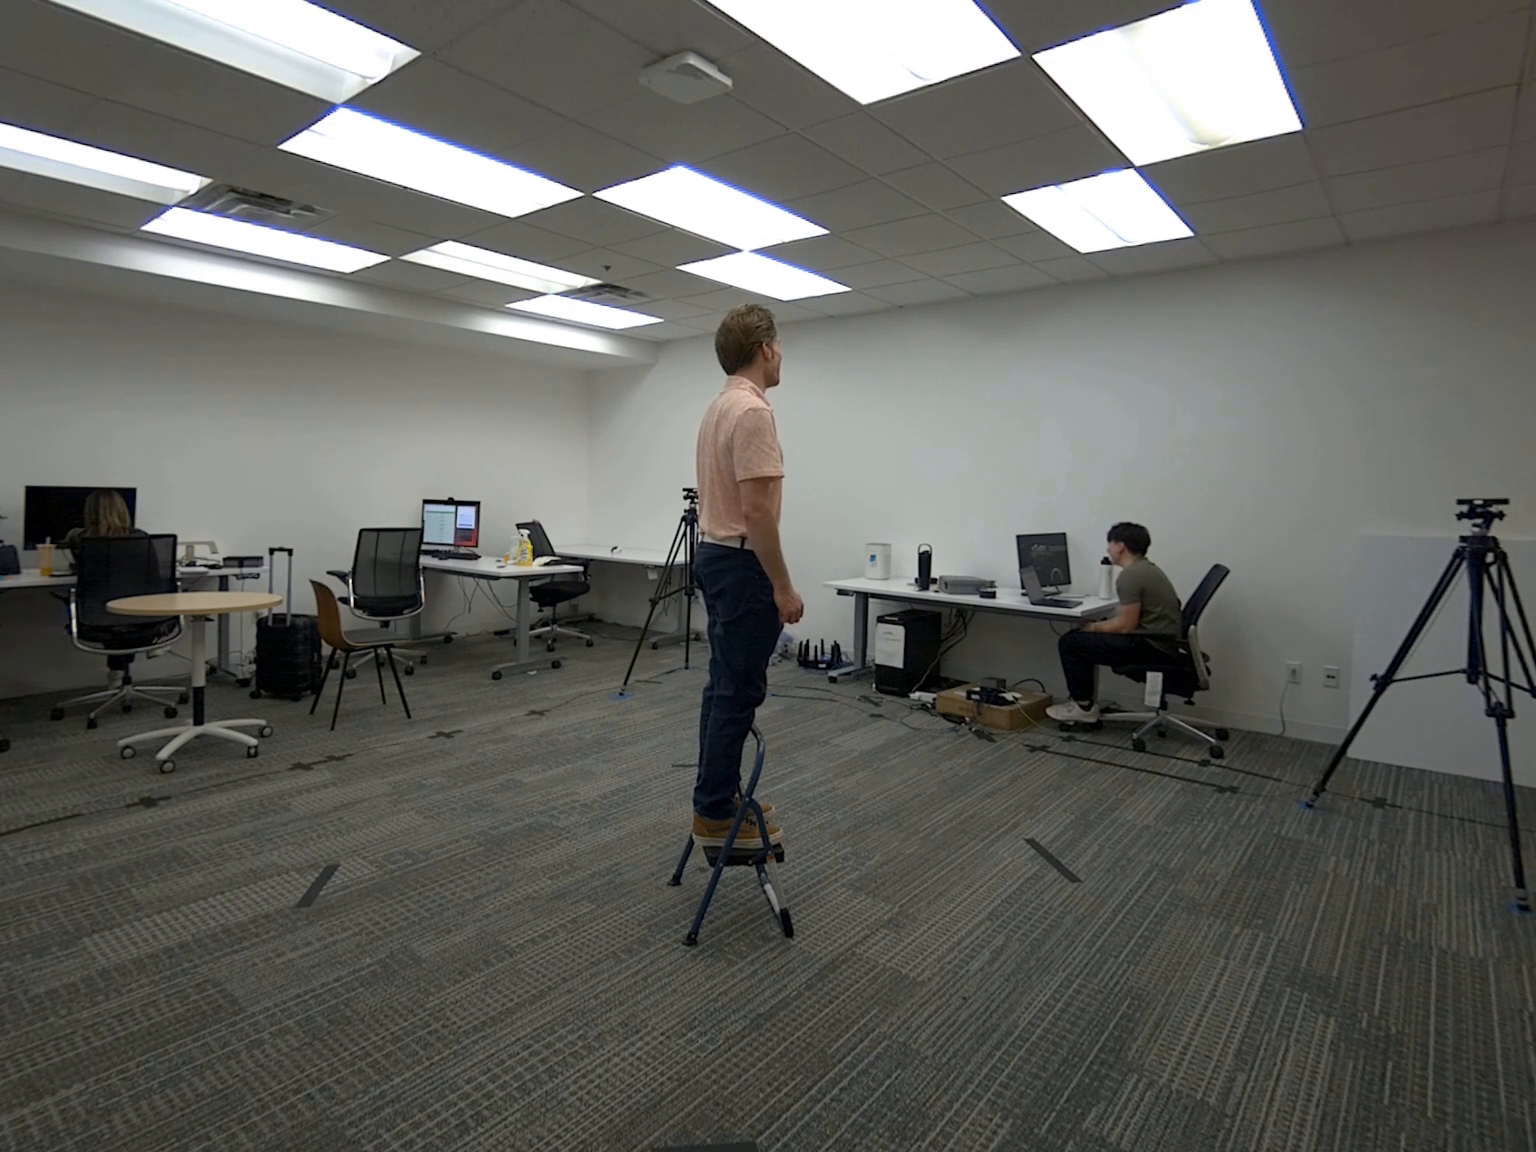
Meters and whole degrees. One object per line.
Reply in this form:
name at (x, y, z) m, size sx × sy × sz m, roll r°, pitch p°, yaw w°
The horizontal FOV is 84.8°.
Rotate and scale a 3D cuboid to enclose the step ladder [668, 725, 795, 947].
step ladder at (-0.128, 0.802, 2.803) m, size 0.345 × 0.604 × 0.437 m, roll 0°, pitch 4°, yaw -13°
